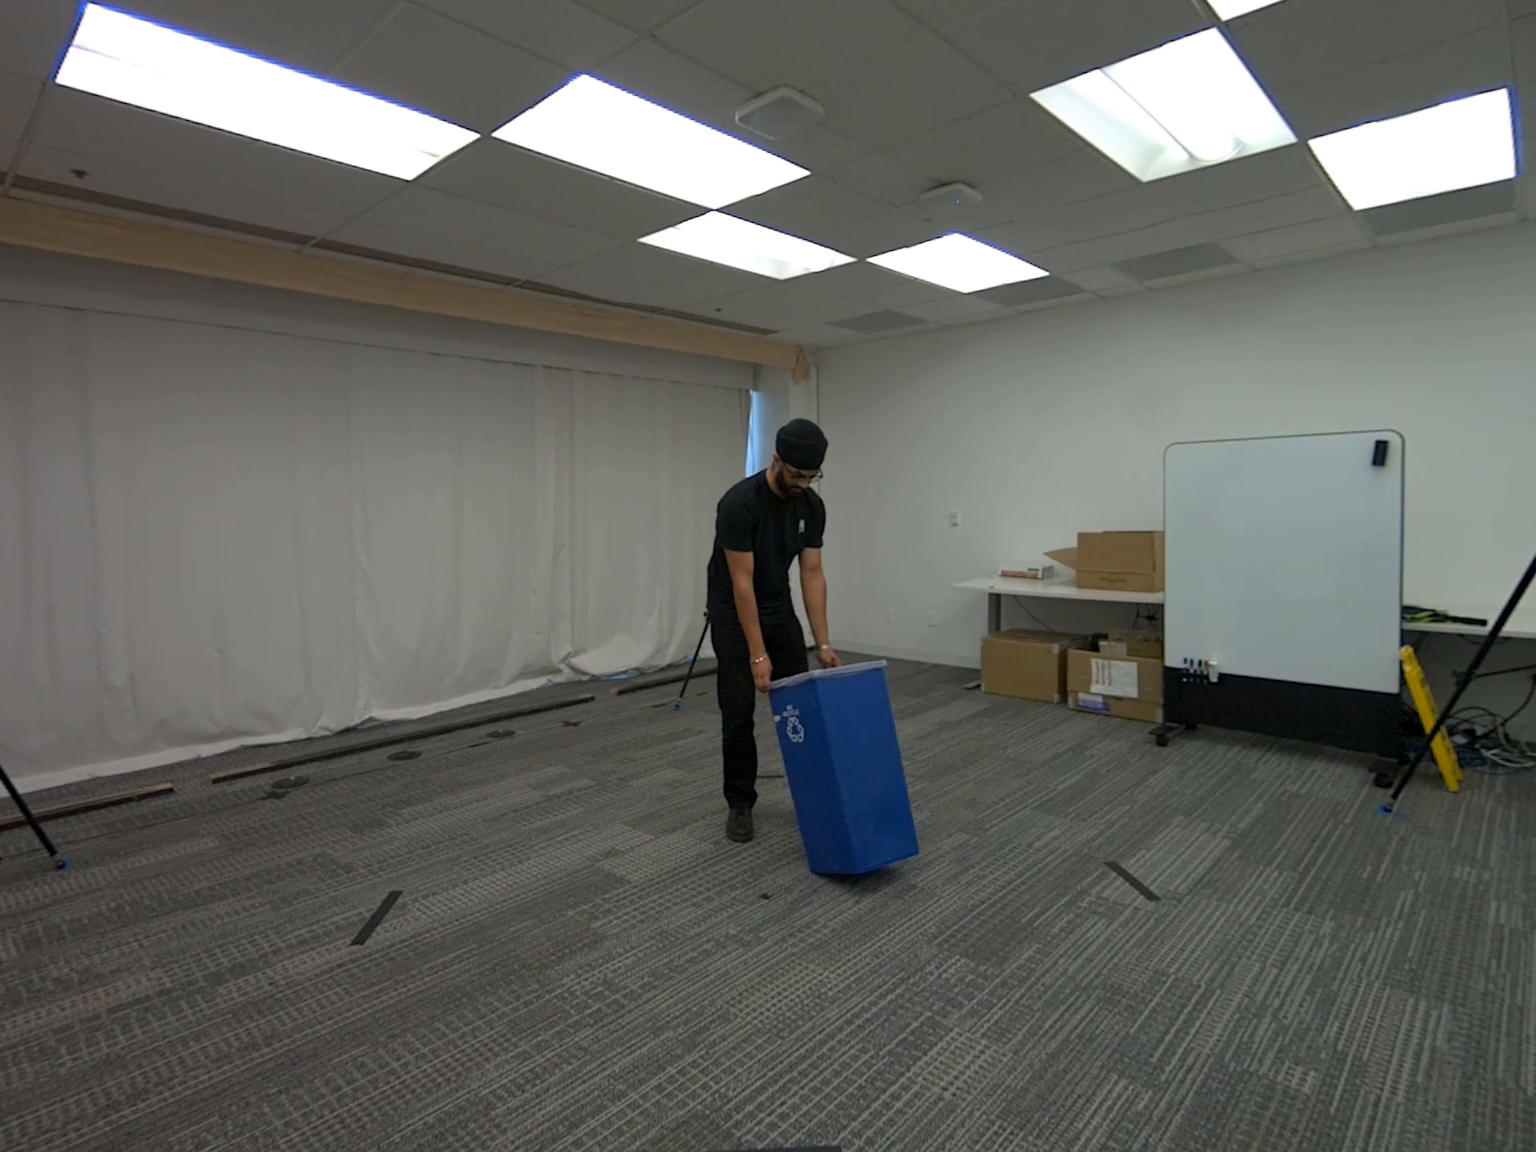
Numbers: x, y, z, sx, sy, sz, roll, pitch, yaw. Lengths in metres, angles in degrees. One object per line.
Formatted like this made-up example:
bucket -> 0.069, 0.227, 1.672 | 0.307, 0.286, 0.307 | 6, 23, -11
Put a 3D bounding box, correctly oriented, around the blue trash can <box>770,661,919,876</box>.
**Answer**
blue trash can -> 0.282, 0.721, 3.206 | 0.367, 0.721, 0.381 | -3, -14, -34
